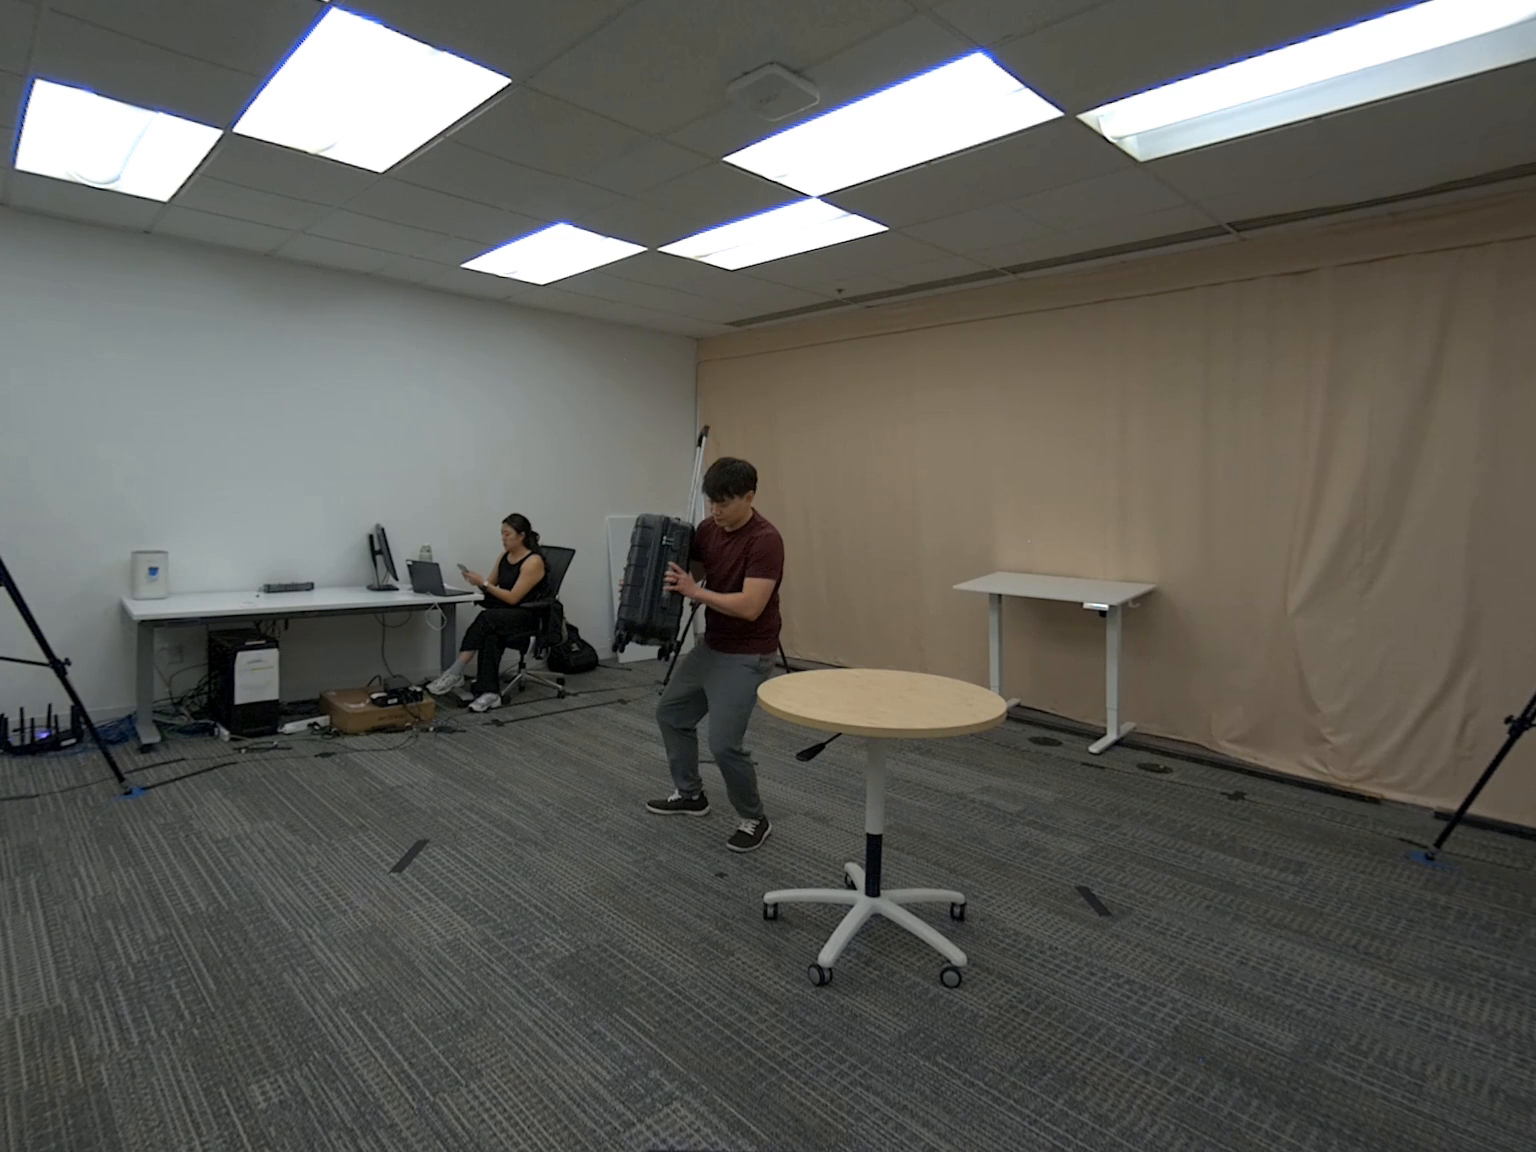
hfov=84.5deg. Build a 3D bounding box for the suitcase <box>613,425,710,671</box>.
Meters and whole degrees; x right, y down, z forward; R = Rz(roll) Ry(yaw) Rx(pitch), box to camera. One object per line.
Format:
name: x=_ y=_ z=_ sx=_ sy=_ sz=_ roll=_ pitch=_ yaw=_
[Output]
suitcase: x=-0.445 y=-0.160 z=3.480 sx=0.254 sy=0.987 sz=0.385 roll=11 pitch=-14 yaw=-12
